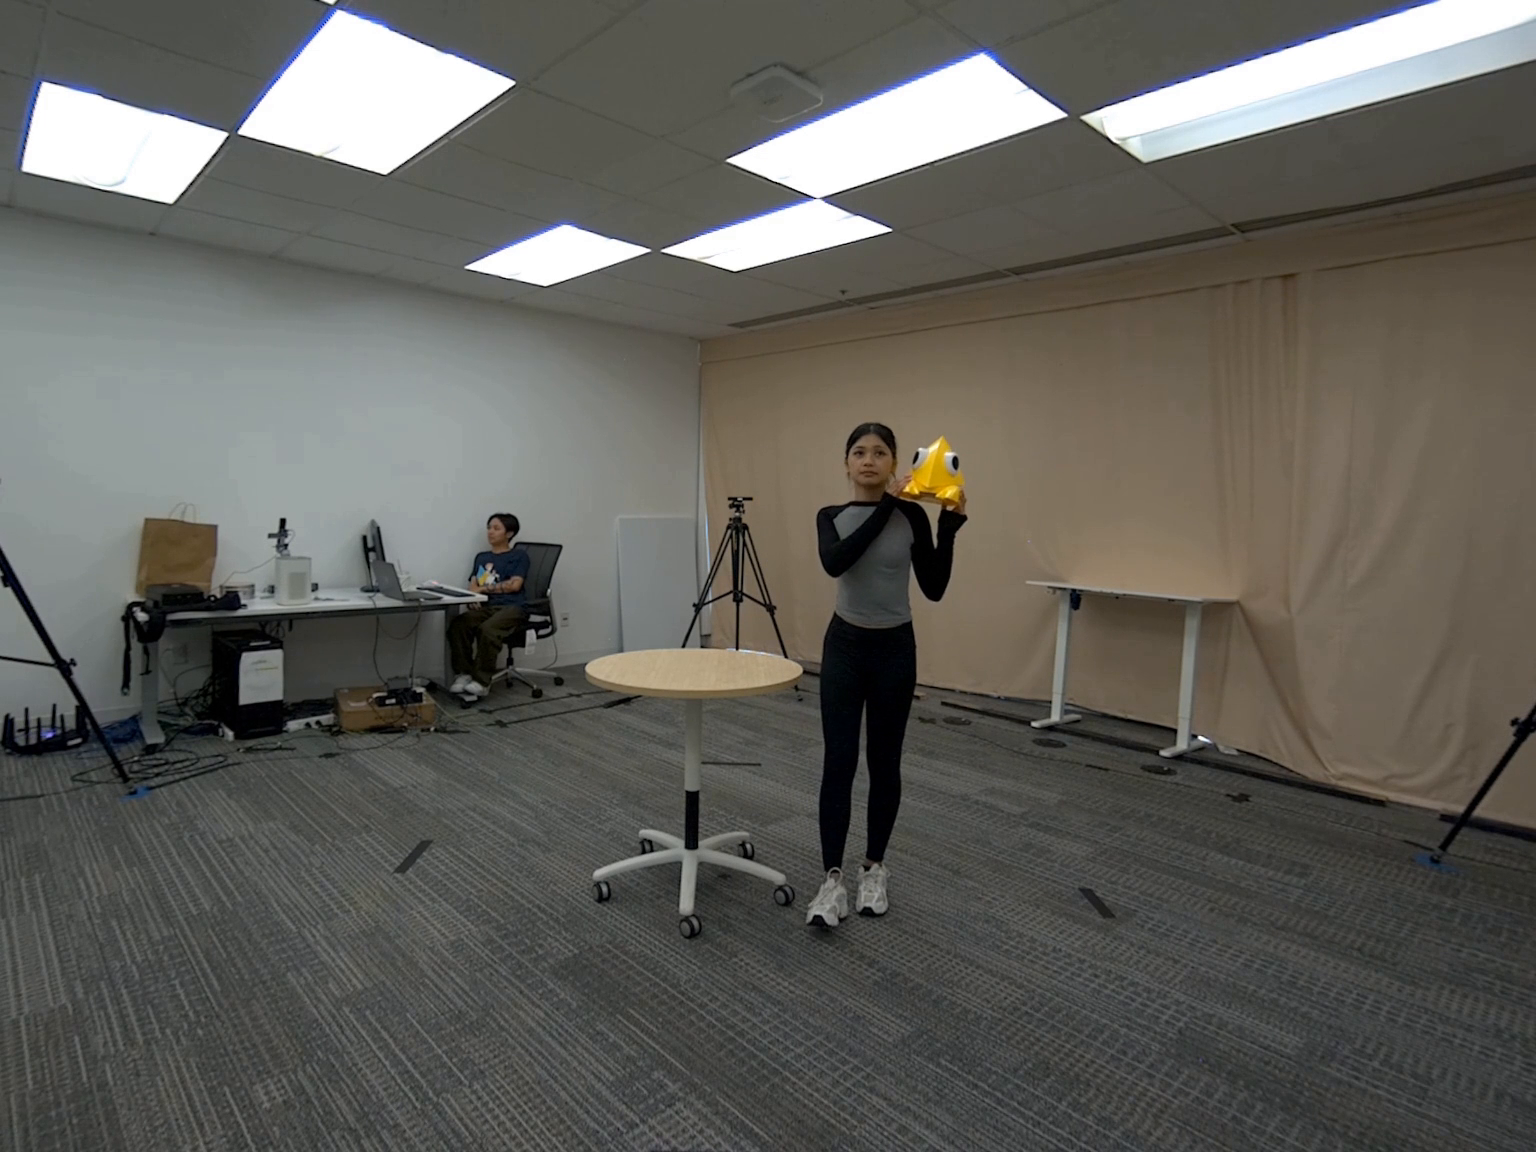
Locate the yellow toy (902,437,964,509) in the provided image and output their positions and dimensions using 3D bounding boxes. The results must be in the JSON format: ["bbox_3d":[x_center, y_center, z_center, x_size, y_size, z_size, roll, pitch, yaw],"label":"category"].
[{"bbox_3d":[0.545,-0.364,2.771,0.208,0.231,0.190,11,-4,16],"label":"yellow toy"}]
